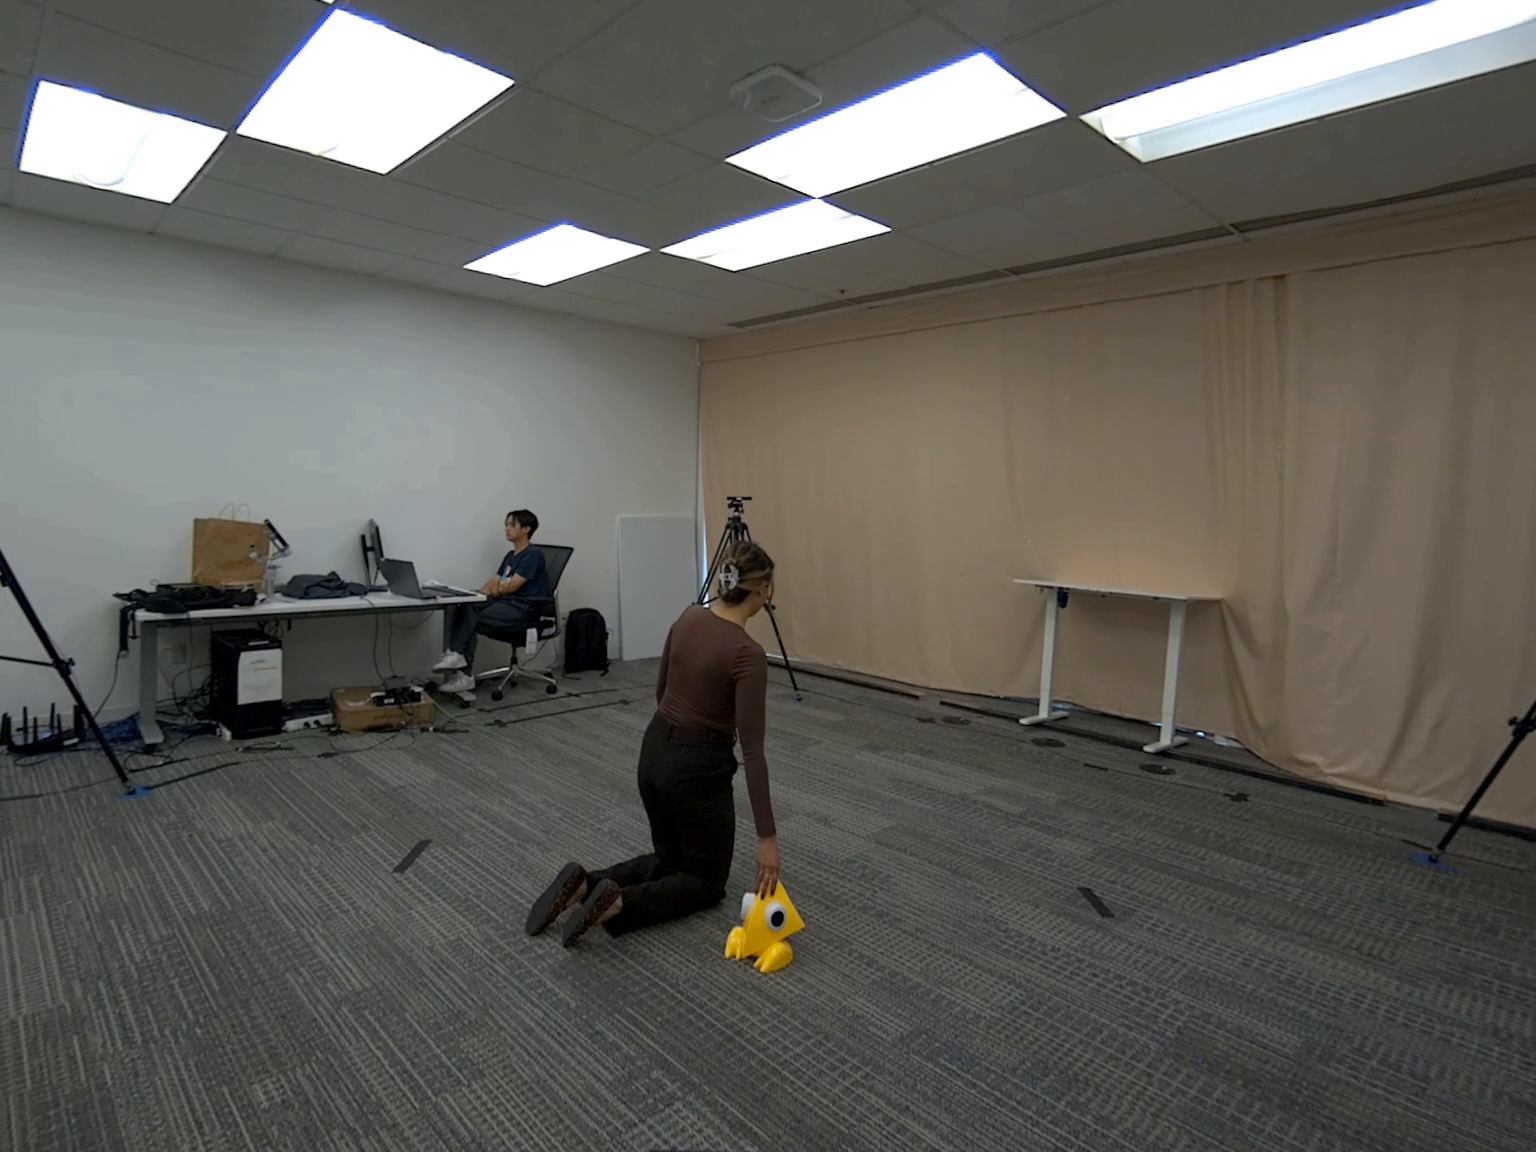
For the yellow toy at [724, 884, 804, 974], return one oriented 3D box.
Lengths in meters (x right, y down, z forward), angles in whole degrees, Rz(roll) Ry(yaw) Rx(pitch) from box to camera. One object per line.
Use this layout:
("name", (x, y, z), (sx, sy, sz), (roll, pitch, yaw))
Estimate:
("yellow toy", (-0.023, 1.046, 2.574), (0.210, 0.230, 0.189), (6, 4, 35))
